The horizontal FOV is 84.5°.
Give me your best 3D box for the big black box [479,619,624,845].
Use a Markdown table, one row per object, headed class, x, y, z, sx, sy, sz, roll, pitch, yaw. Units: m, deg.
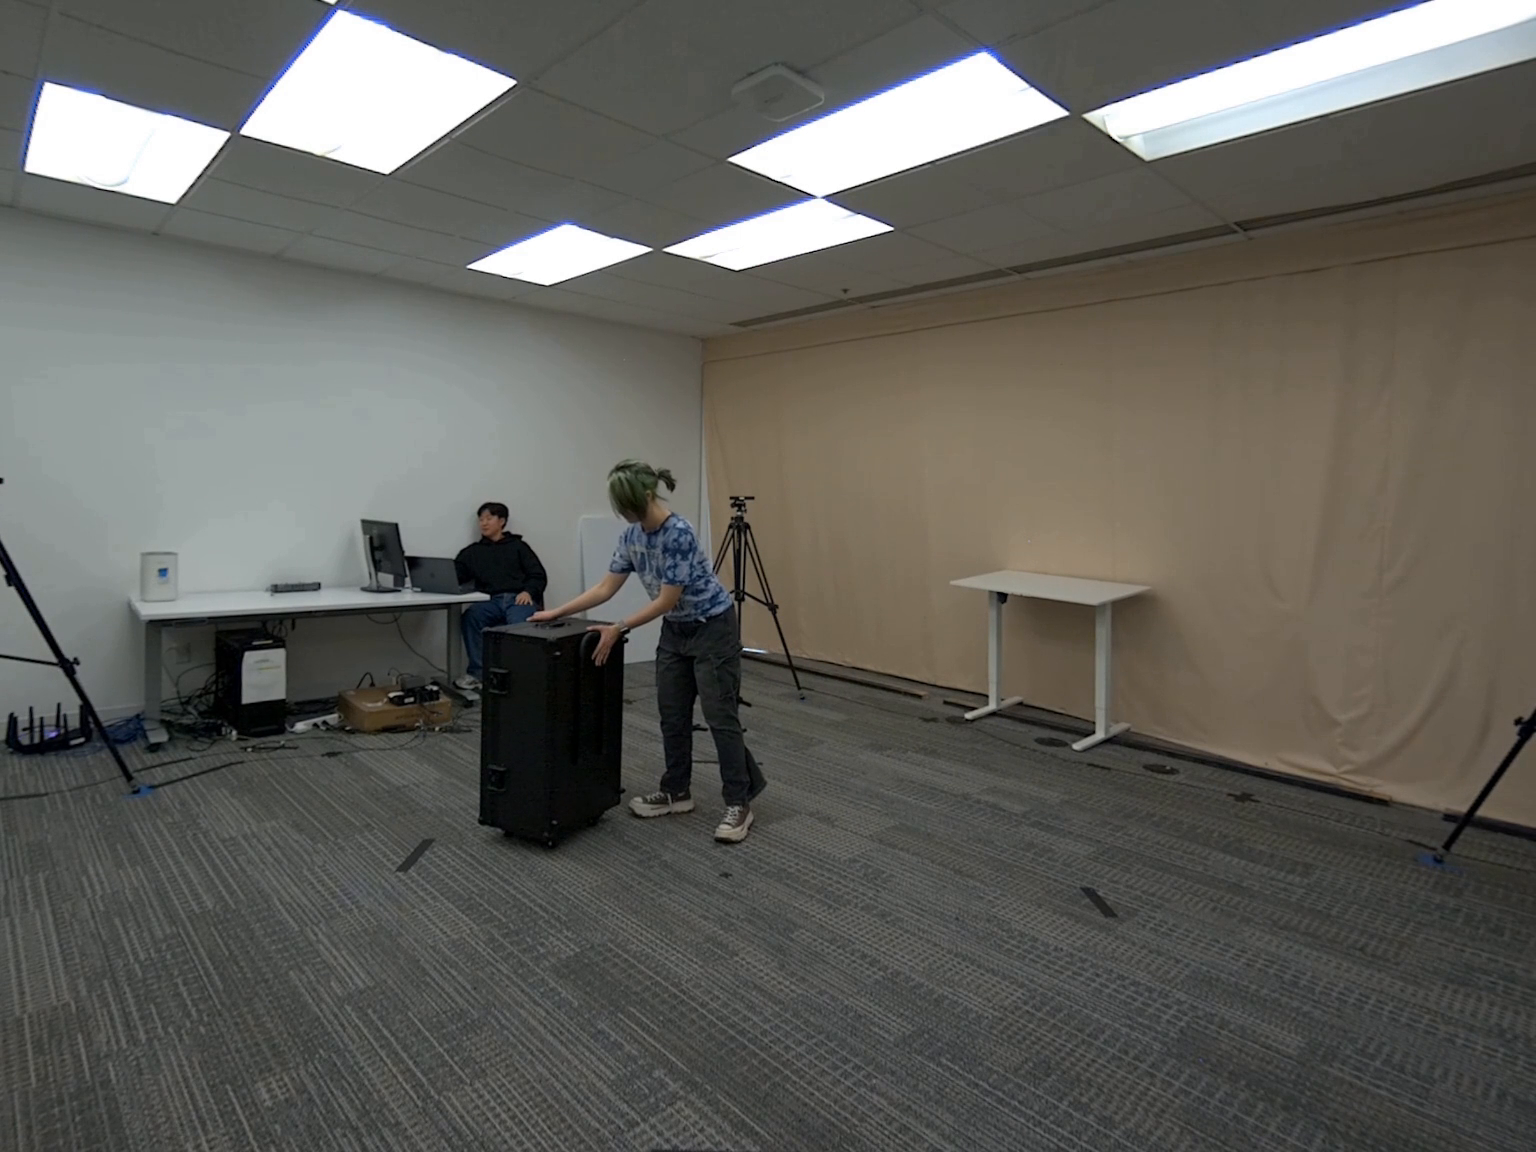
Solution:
| class | x | y | z | sx | sy | sz | roll | pitch | yaw |
| --- | --- | --- | --- | --- | --- | --- | --- | --- | --- |
| big black box | -0.878 | 0.633 | 3.462 | 0.404 | 0.859 | 0.512 | 3 | 4 | 25 |
